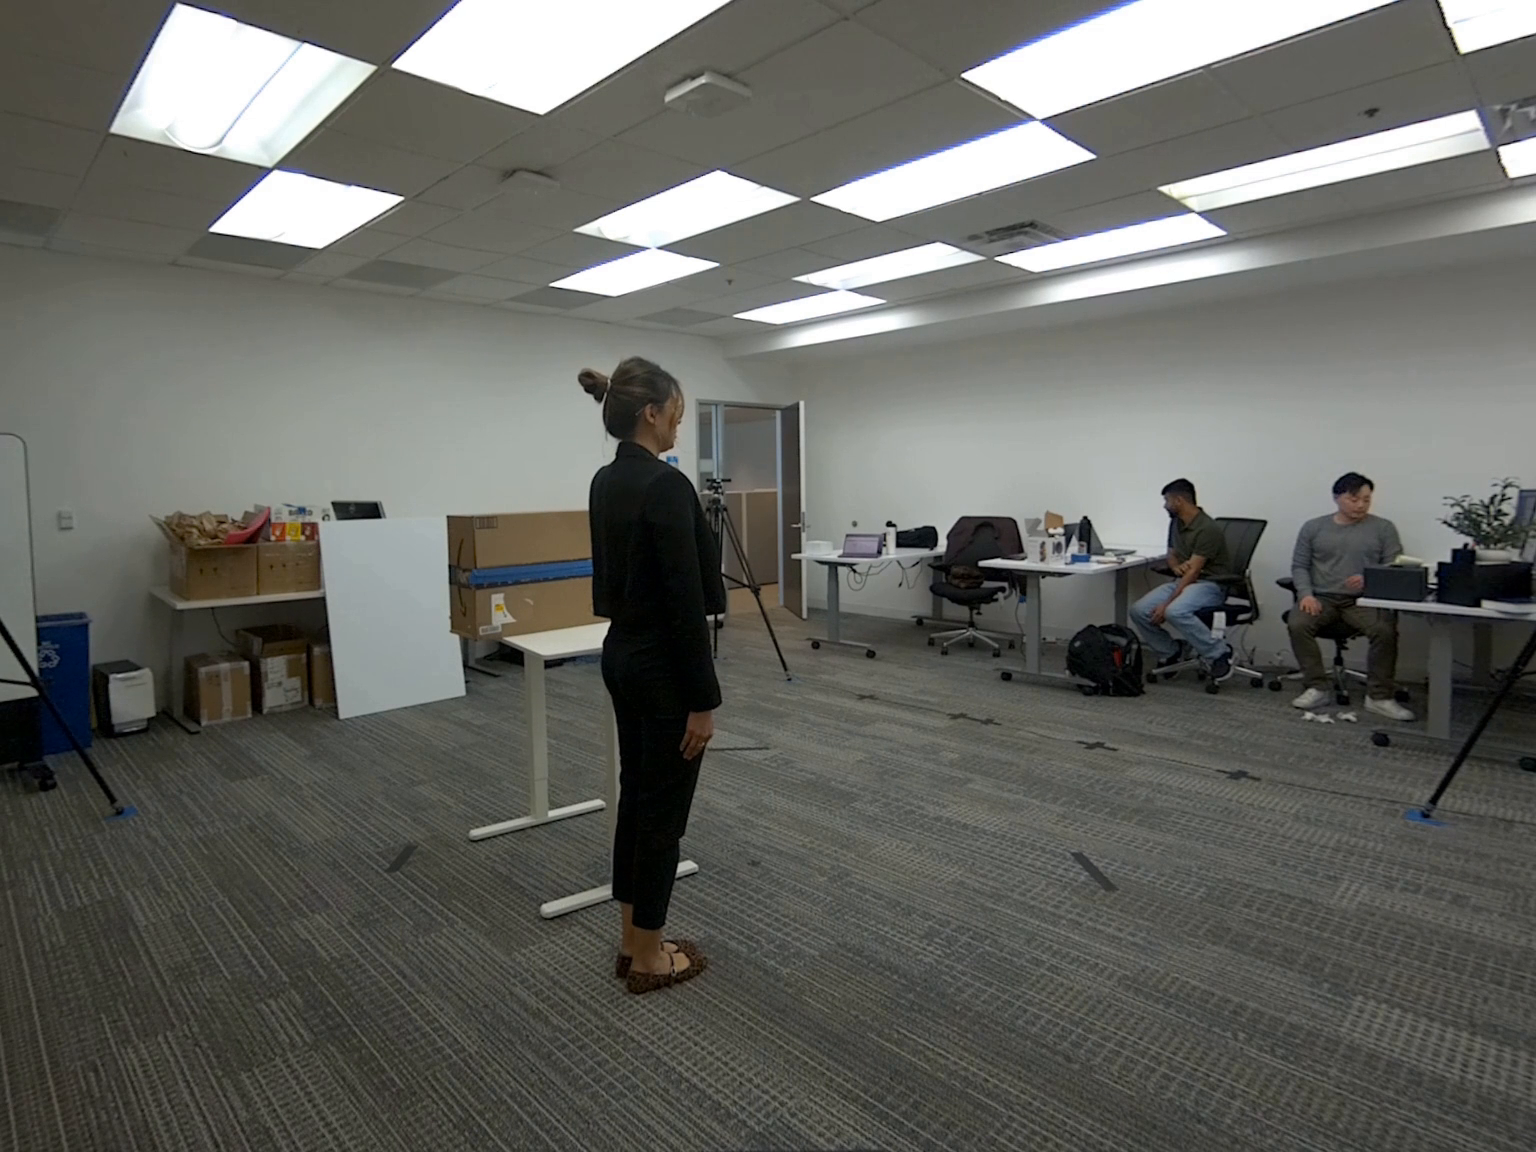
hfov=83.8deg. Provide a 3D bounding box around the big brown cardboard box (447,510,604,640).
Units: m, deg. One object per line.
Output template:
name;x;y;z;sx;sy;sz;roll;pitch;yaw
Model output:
big brown cardboard box;-0.828;-0.024;3.055;0.574;0.416;0.240;-7;7;-41
